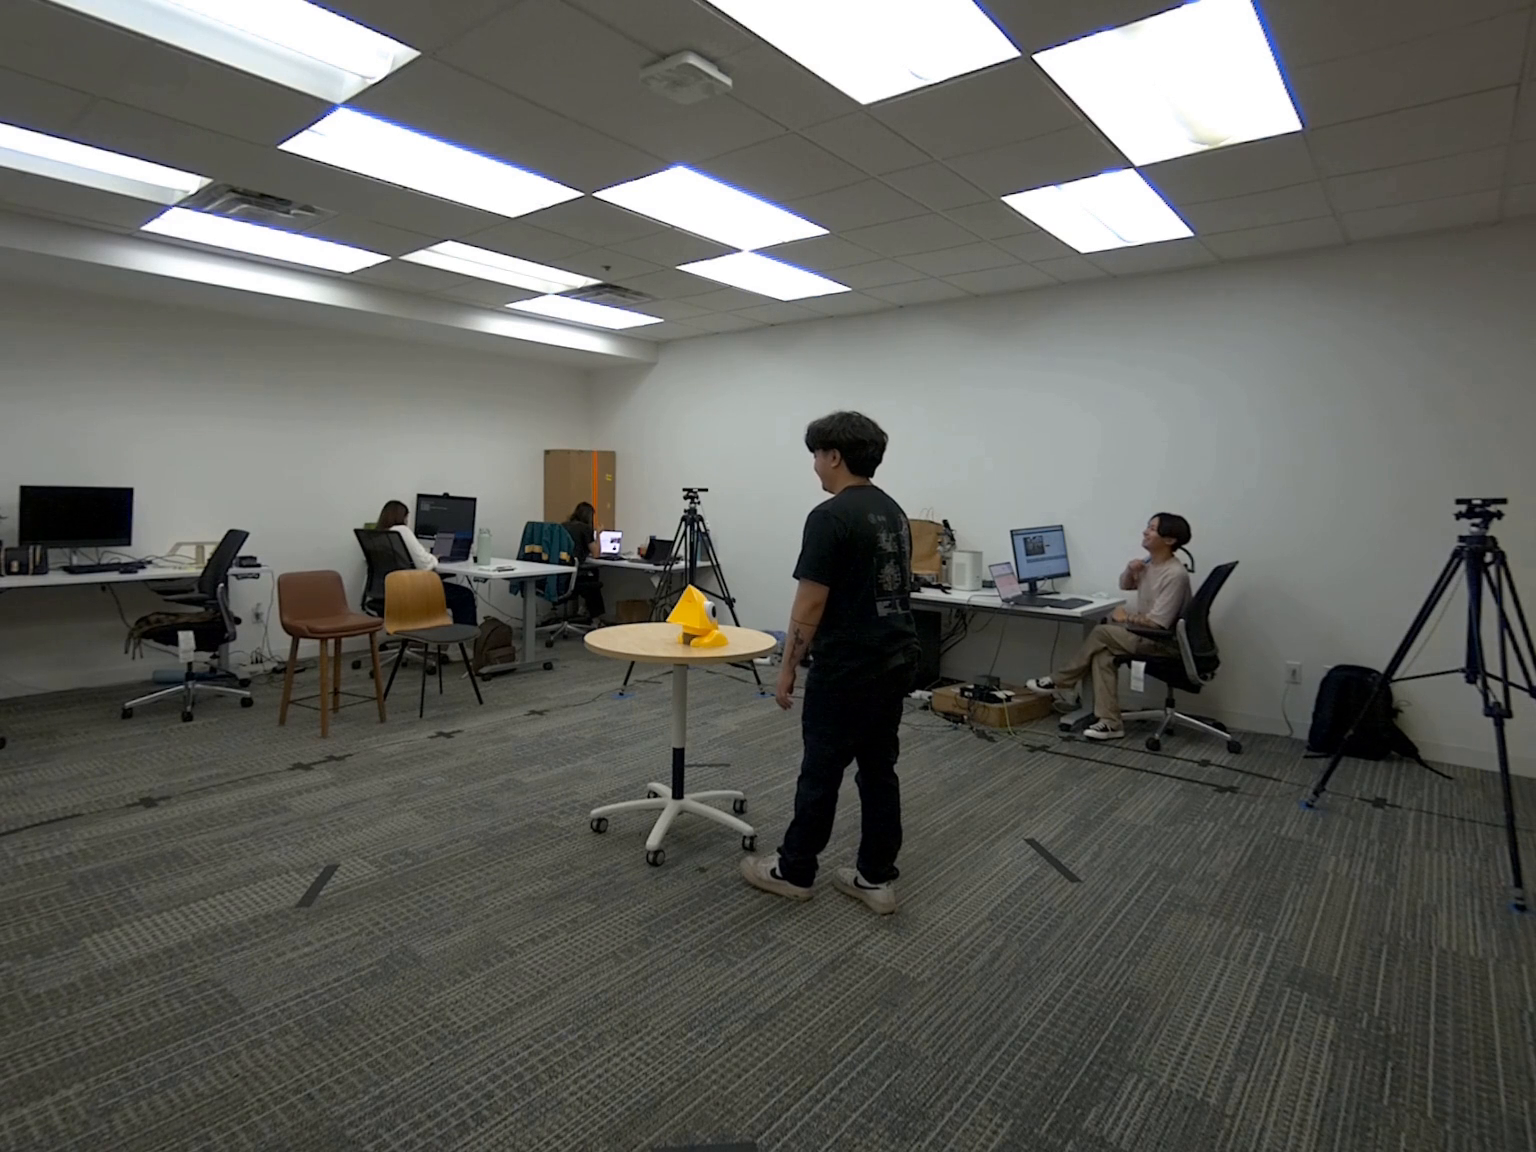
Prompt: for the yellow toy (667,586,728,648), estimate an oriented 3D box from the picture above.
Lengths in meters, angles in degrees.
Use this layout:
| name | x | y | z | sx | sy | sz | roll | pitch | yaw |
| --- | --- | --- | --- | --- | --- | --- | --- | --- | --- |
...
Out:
| name | x | y | z | sx | sy | sz | roll | pitch | yaw |
| --- | --- | --- | --- | --- | --- | --- | --- | --- | --- |
| yellow toy | -0.272 | 0.143 | 3.310 | 0.187 | 0.230 | 0.212 | -2 | 5 | -43 |
